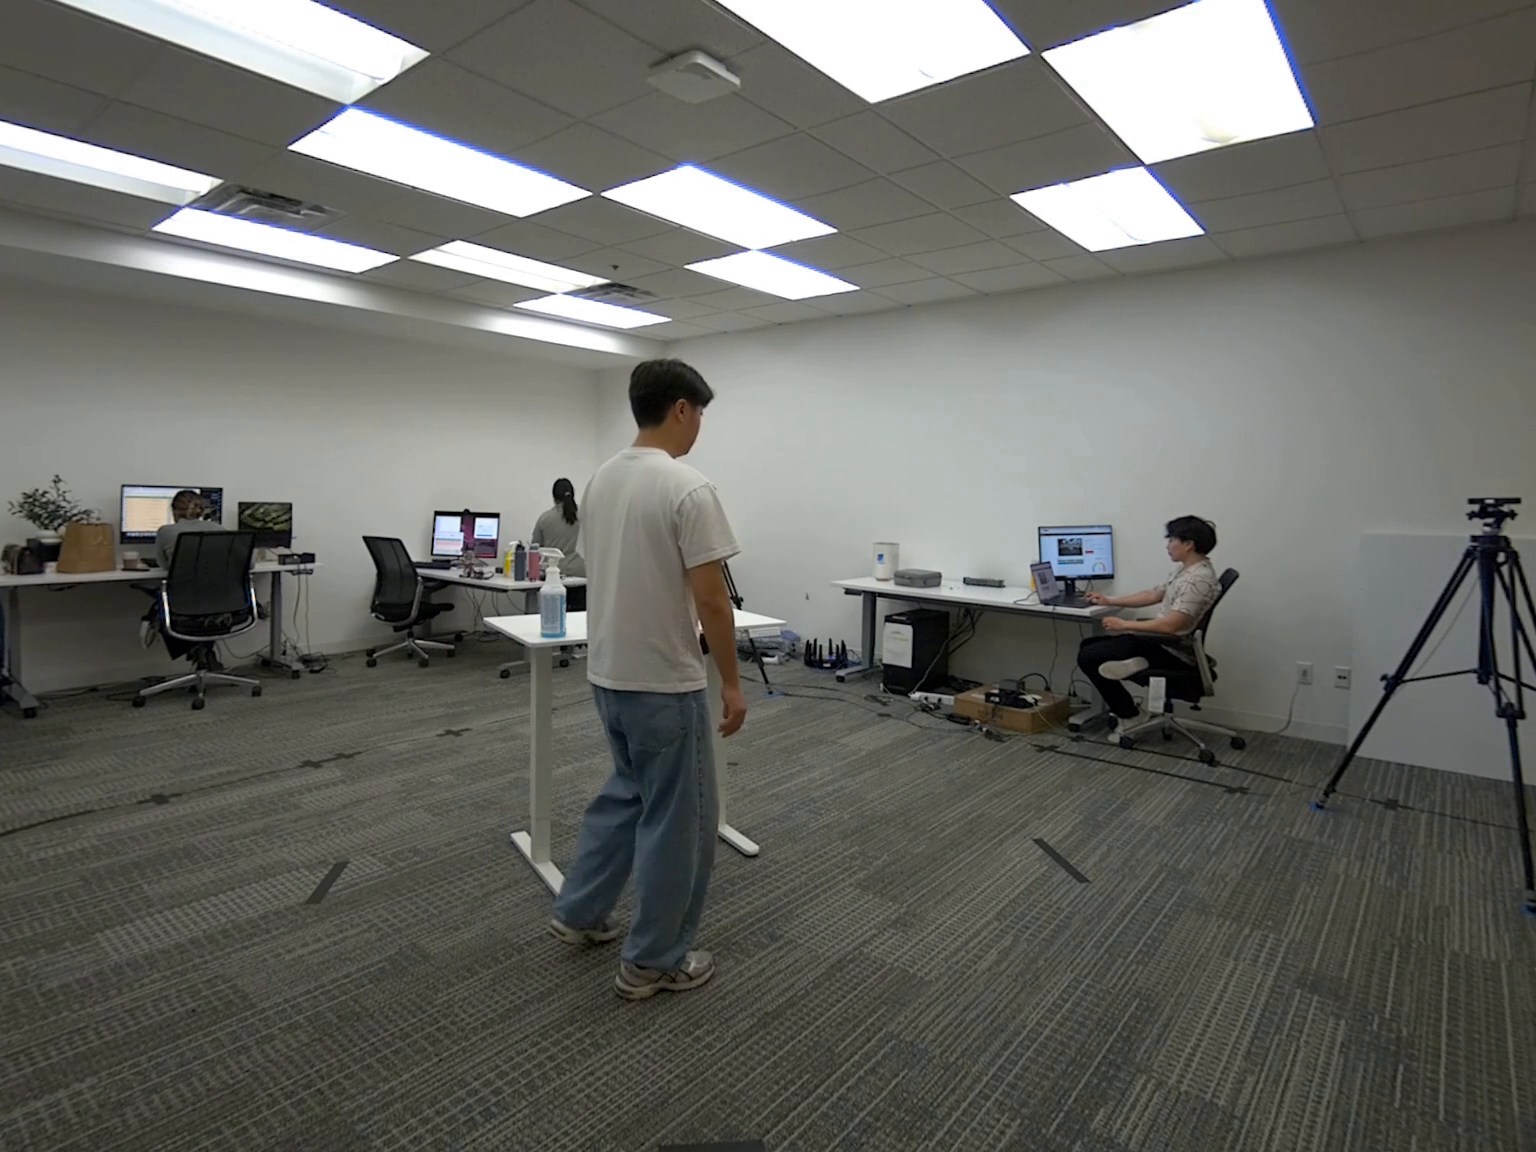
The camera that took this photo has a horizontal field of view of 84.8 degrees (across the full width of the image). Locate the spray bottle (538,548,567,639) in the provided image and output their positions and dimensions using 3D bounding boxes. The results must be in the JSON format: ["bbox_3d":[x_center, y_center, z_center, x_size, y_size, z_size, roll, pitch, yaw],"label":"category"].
[{"bbox_3d":[-0.738,0.055,2.862,0.093,0.297,0.084,0,2,36],"label":"spray bottle"}]
